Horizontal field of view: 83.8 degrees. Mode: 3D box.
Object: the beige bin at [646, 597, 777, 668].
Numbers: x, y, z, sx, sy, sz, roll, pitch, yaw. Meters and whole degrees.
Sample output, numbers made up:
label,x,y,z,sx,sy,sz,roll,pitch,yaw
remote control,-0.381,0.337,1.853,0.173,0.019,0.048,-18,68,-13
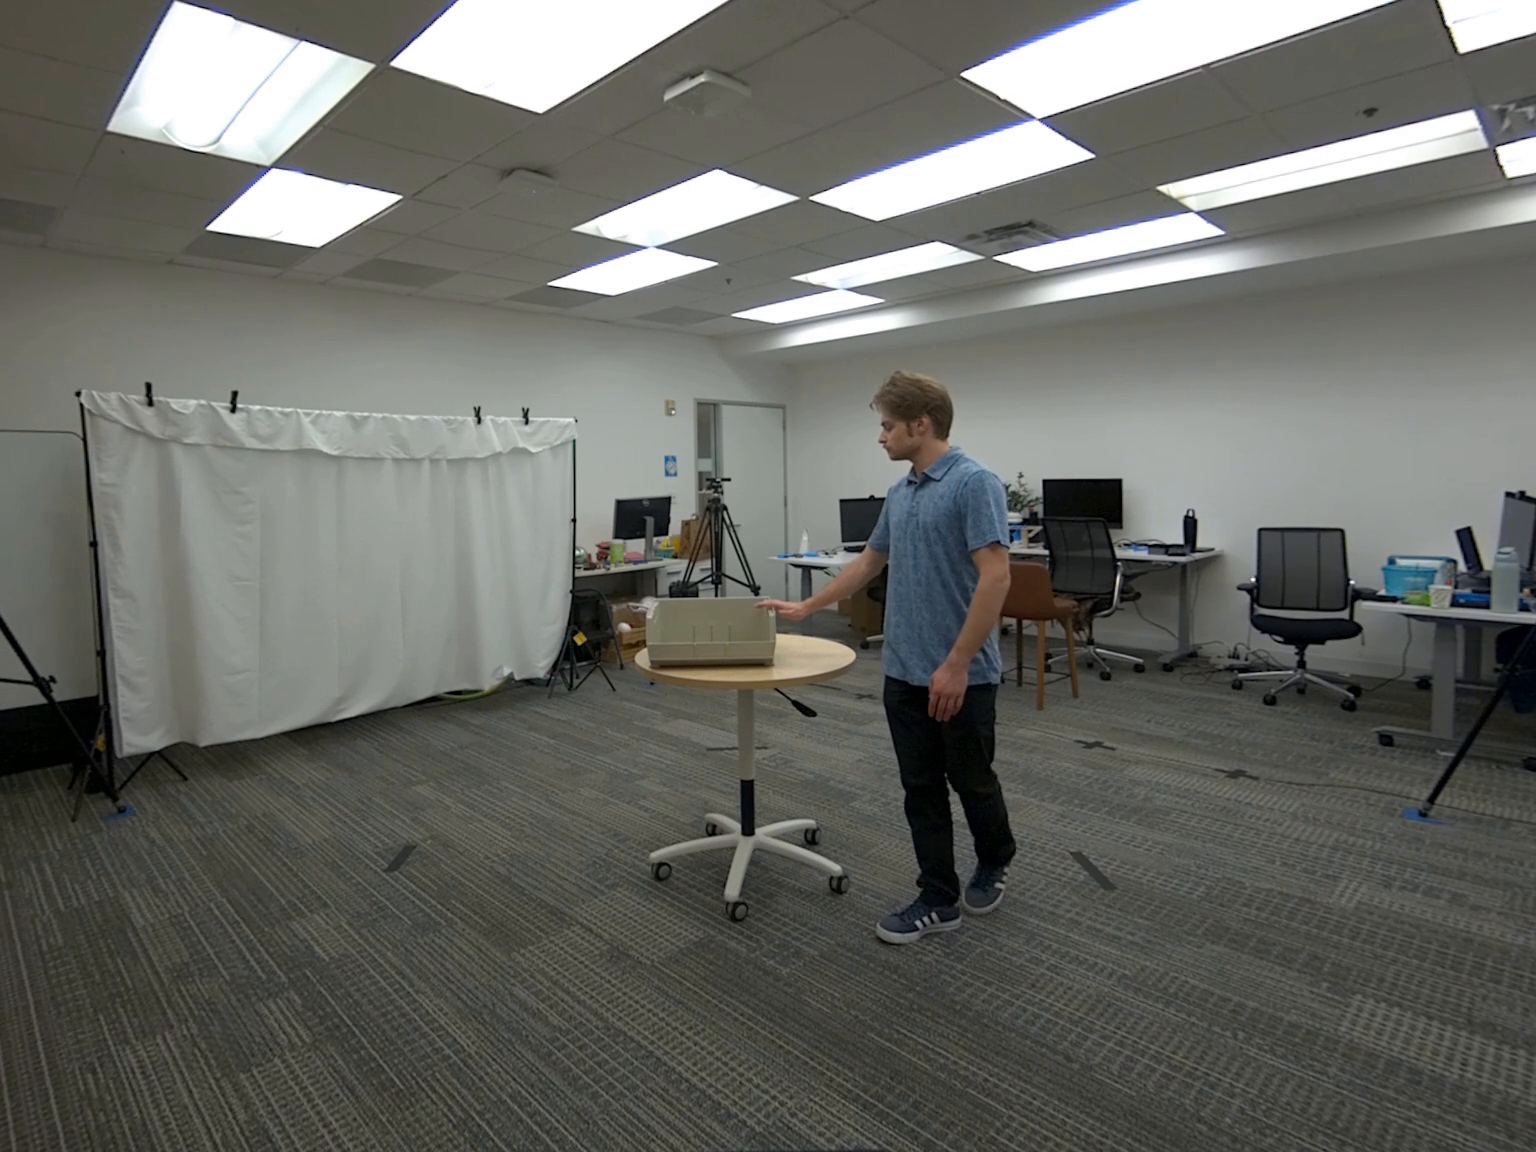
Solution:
label,x,y,z,sx,sy,sz,roll,pitch,yaw
beige bin,-0.185,0.195,2.914,0.421,0.188,0.380,-1,6,-4
